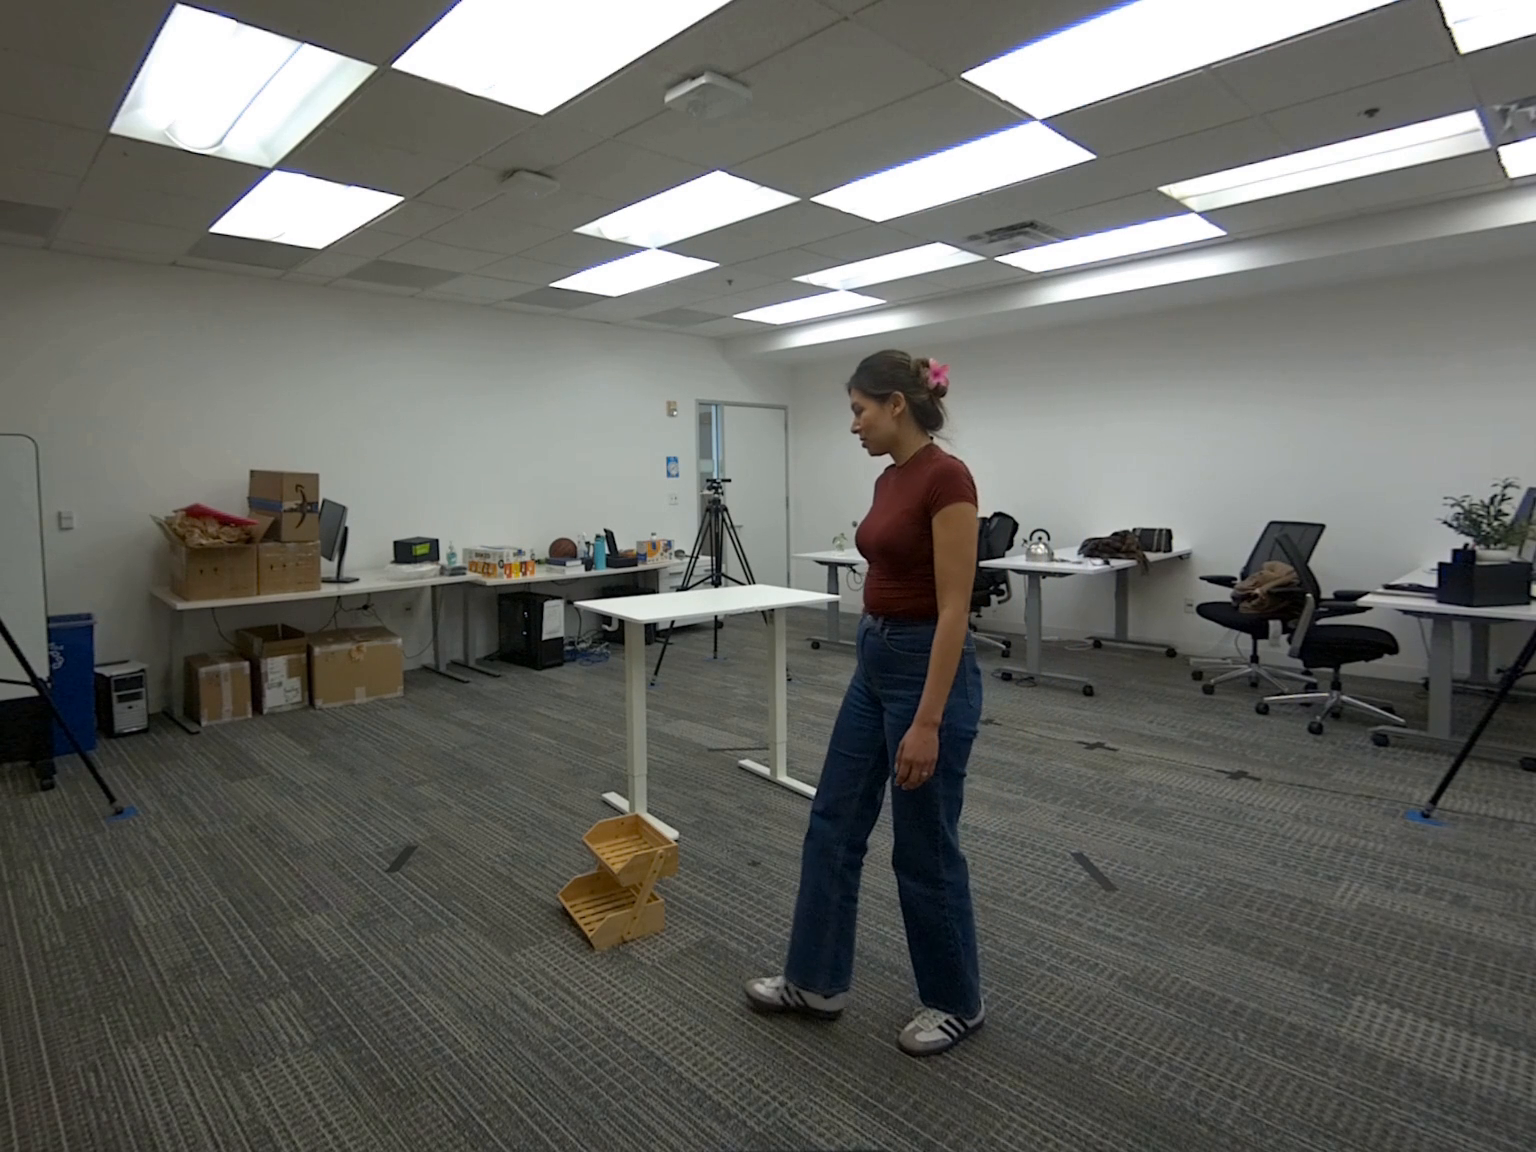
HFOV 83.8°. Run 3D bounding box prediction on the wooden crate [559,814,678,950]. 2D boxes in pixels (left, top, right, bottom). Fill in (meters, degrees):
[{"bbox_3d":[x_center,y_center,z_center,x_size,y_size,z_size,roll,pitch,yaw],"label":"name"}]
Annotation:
[{"bbox_3d":[-0.485,0.961,2.734,0.295,0.272,0.334,-4,6,-31],"label":"wooden crate"}]
